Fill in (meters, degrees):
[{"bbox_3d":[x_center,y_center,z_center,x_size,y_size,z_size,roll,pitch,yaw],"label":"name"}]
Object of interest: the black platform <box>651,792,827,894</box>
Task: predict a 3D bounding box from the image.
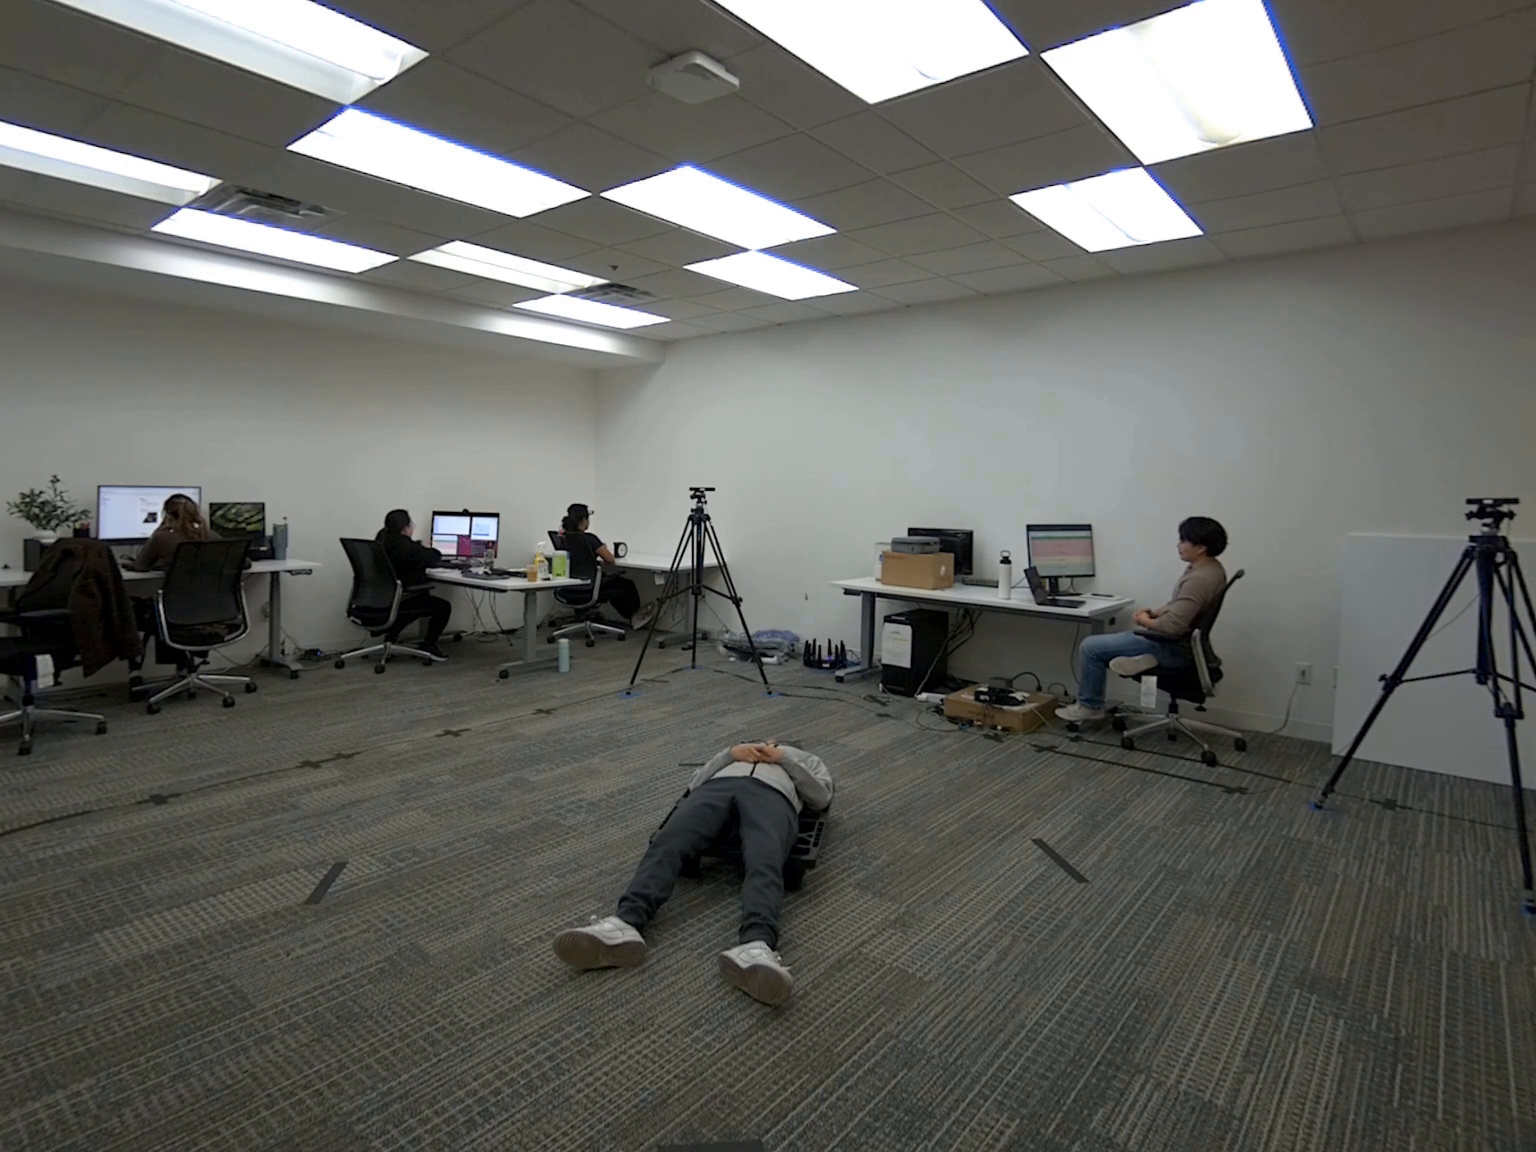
[{"bbox_3d":[-0.078,0.972,3.351,0.614,0.143,0.796,1,4,12],"label":"black platform"}]
